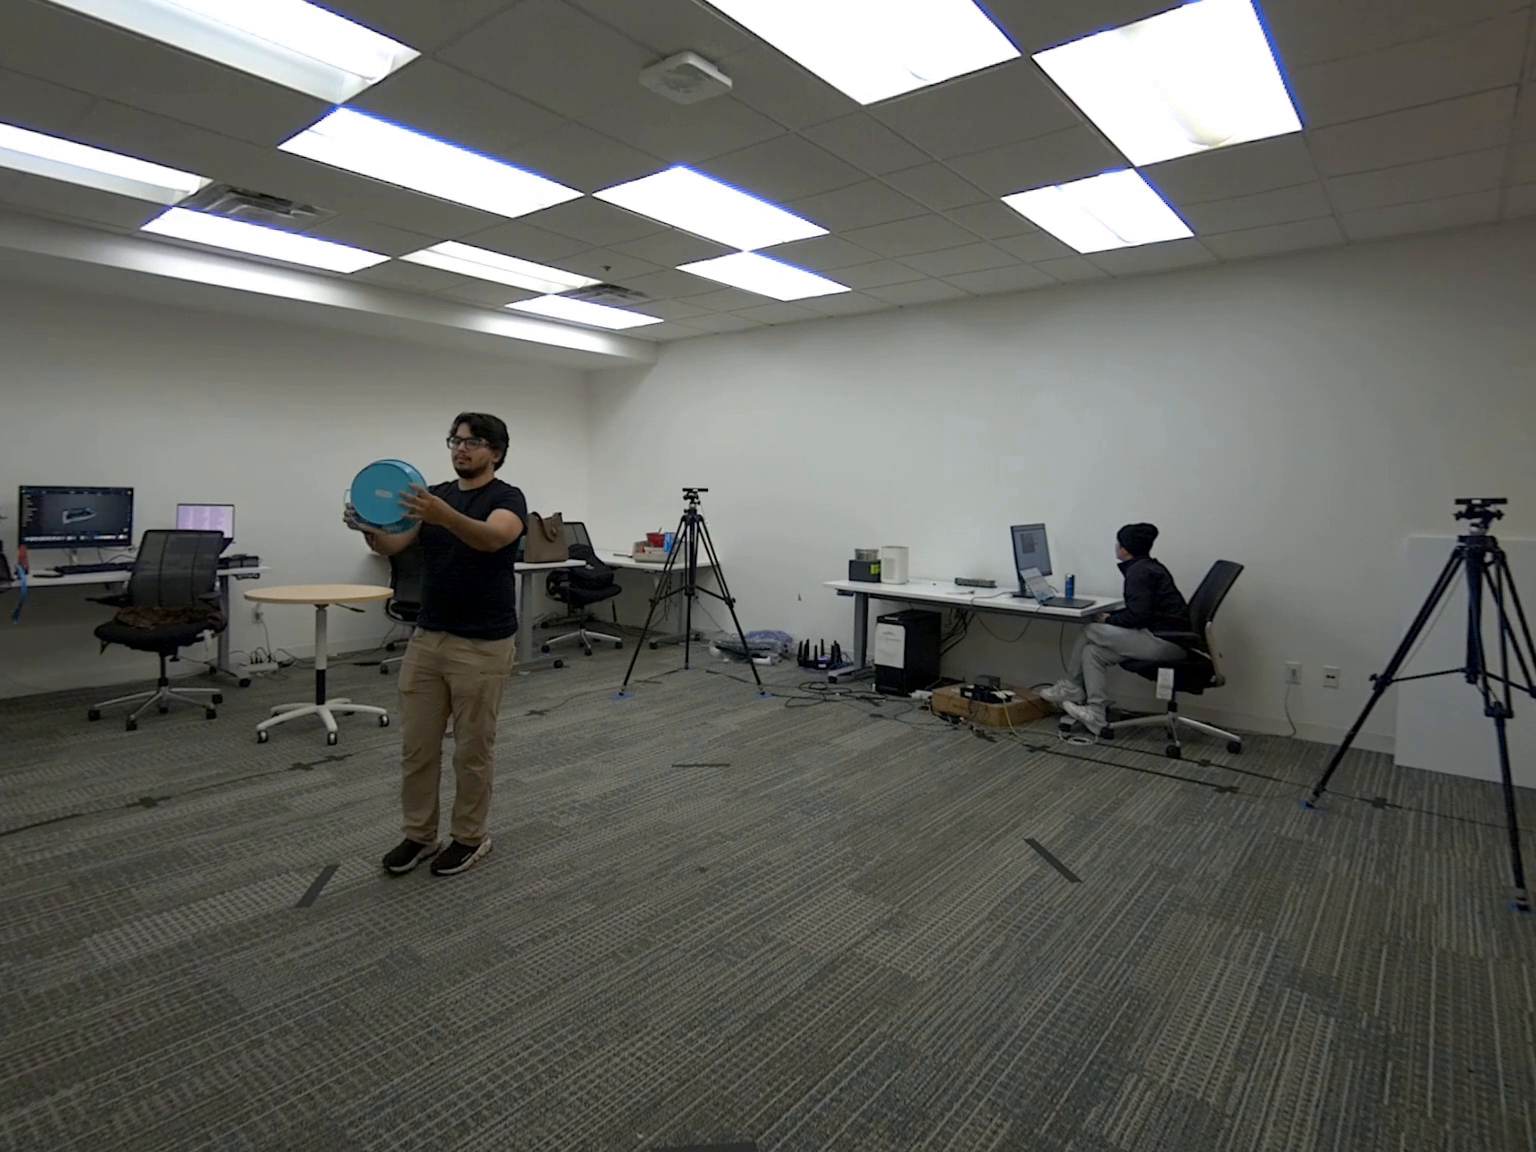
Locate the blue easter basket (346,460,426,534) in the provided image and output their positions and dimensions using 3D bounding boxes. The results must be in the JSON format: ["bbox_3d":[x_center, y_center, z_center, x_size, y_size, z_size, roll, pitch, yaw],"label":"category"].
[{"bbox_3d":[-1.174,-0.247,2.570,0.239,0.244,0.158,0,-1,-18],"label":"blue easter basket"}]
